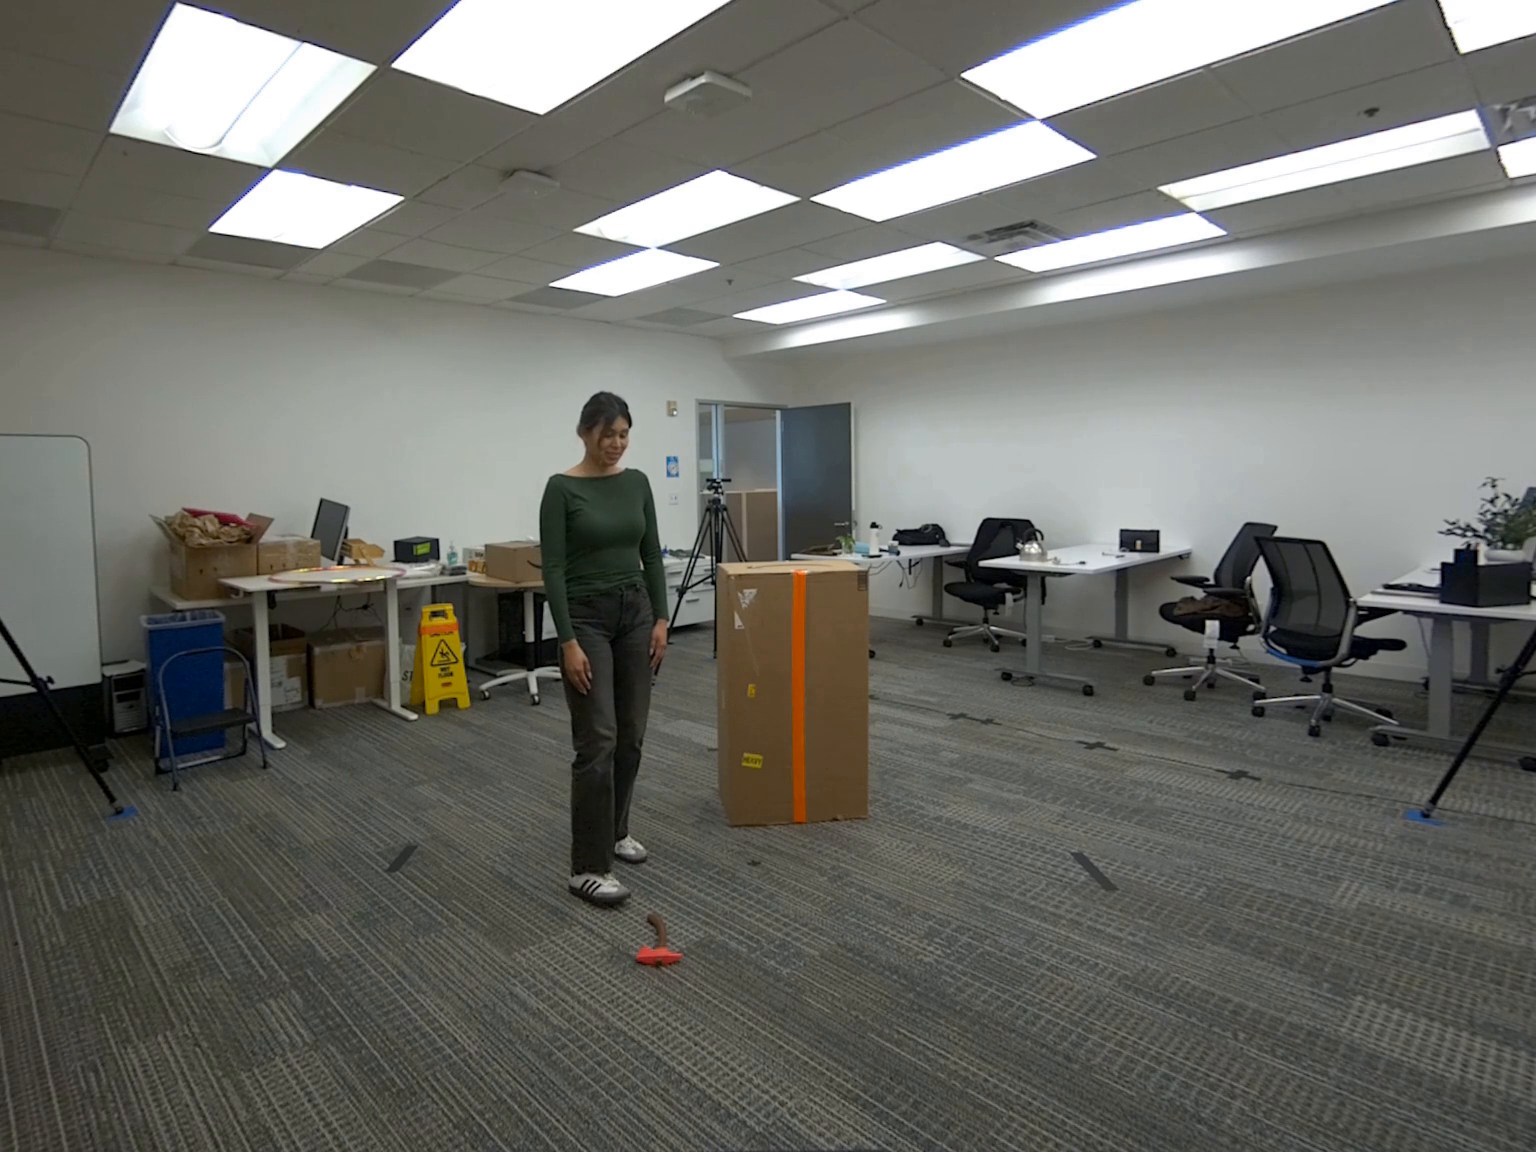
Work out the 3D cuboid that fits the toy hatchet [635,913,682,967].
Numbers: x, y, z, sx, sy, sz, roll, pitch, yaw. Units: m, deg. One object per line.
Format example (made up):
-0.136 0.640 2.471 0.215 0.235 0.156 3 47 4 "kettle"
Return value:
-0.349 1.095 2.588 0.129 0.029 0.276 -5 6 -21 "toy hatchet"
